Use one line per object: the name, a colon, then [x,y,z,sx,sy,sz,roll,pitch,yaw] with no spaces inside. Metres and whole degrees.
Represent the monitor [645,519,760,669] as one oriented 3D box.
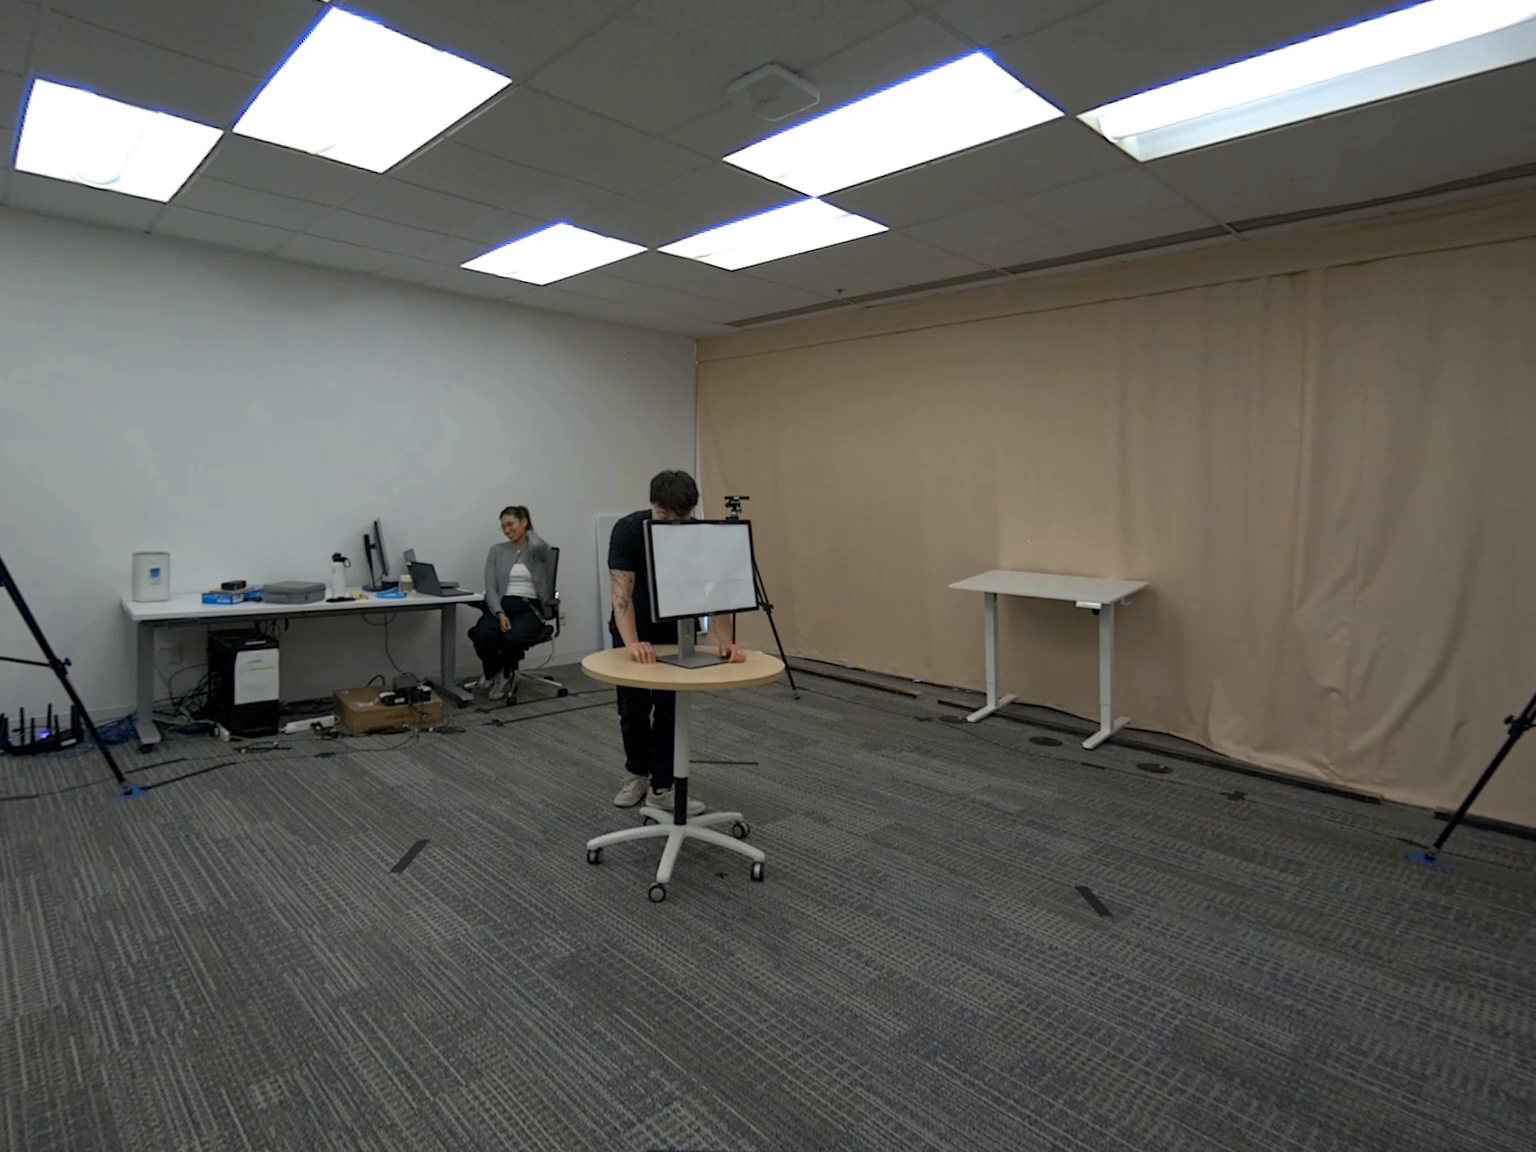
monitor: [-0.276,0.058,3.191,0.192,0.521,0.527,8,7,38]
